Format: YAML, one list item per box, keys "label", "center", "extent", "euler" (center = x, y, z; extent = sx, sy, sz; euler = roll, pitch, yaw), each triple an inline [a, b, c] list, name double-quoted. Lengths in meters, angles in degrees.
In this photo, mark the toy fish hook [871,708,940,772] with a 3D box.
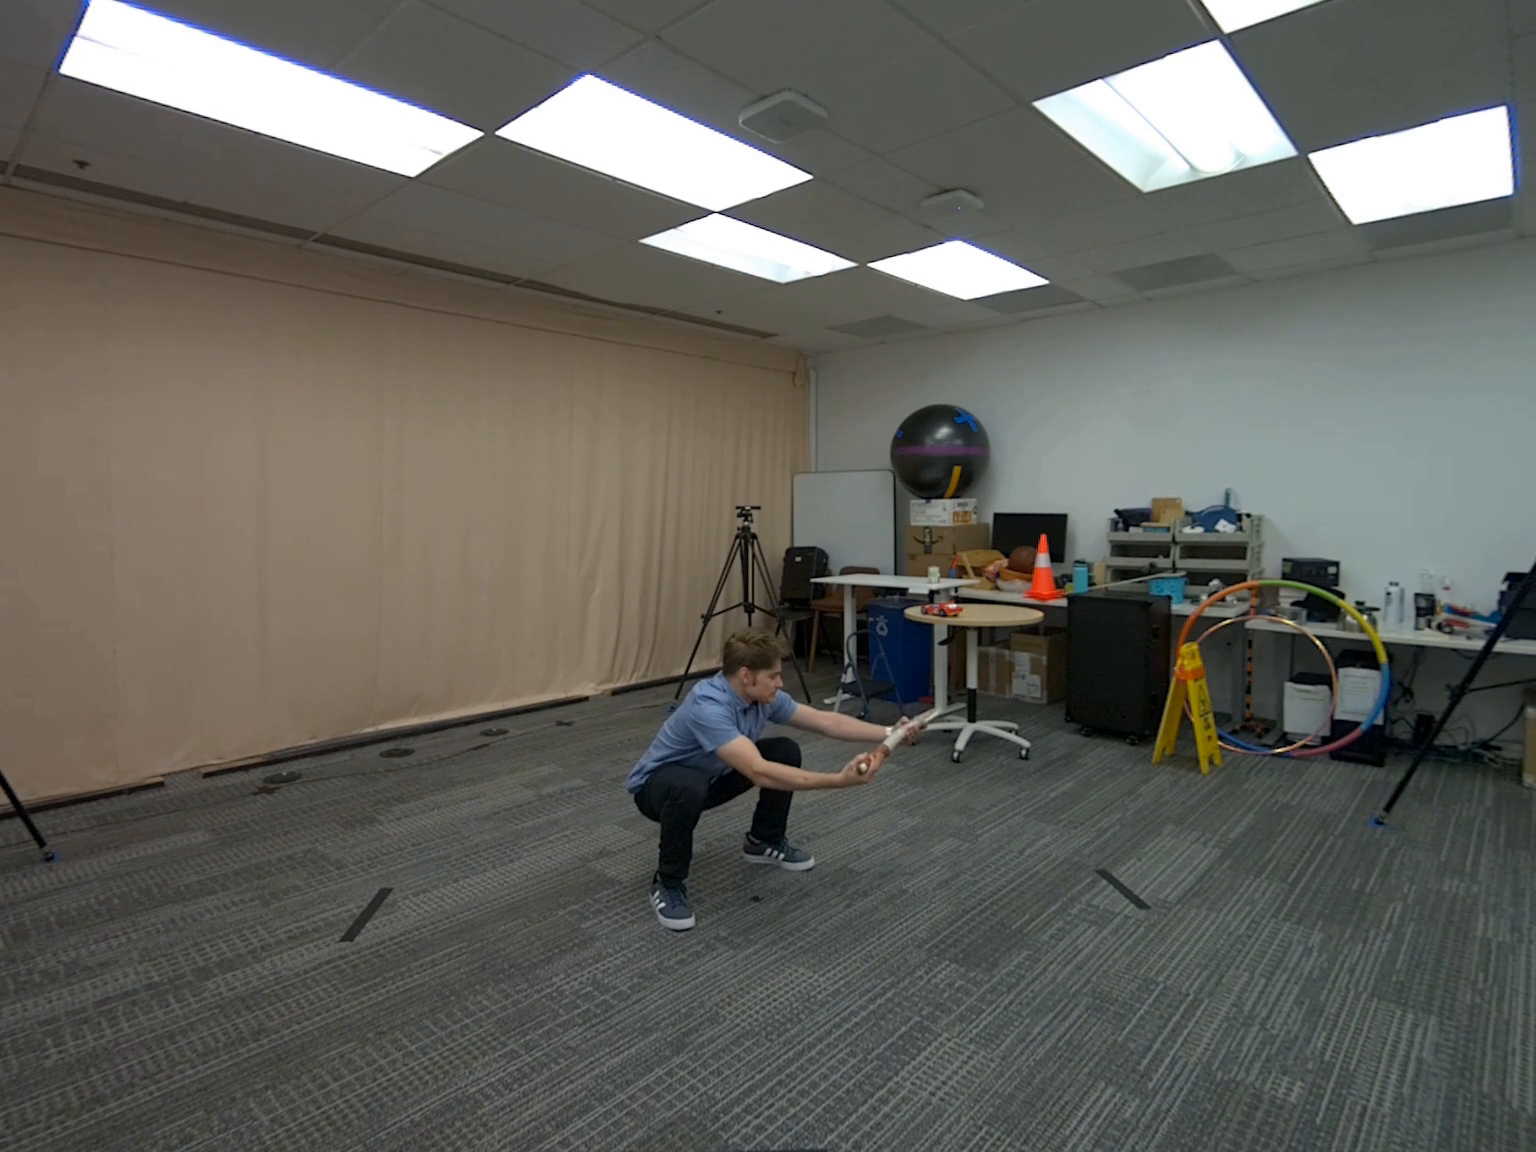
- label: "toy fish hook"
  center: [0.449, 0.555, 2.842]
  extent: [0.227, 0.049, 0.495]
  euler: [-42, -12, 29]
